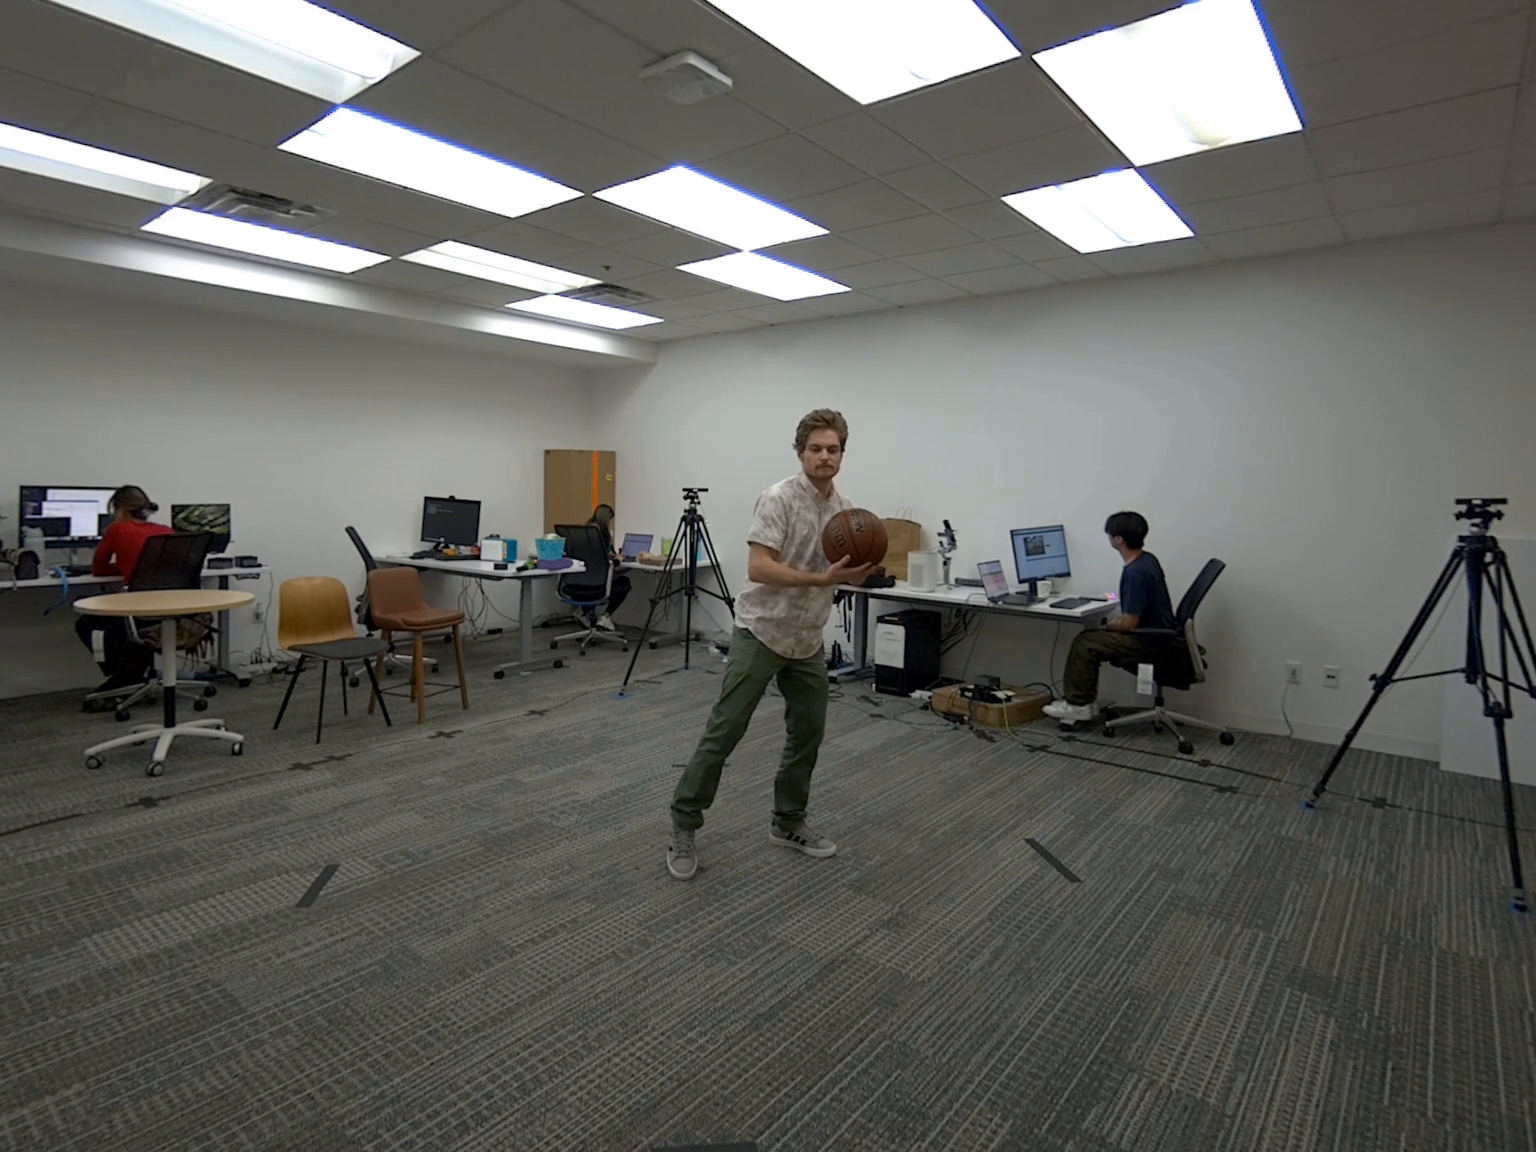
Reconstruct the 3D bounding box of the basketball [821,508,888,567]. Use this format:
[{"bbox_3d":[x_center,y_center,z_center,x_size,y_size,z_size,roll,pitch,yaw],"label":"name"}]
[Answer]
[{"bbox_3d":[0.306,-0.125,3.085,0.236,0.235,0.237,1,4,-2],"label":"basketball"}]
